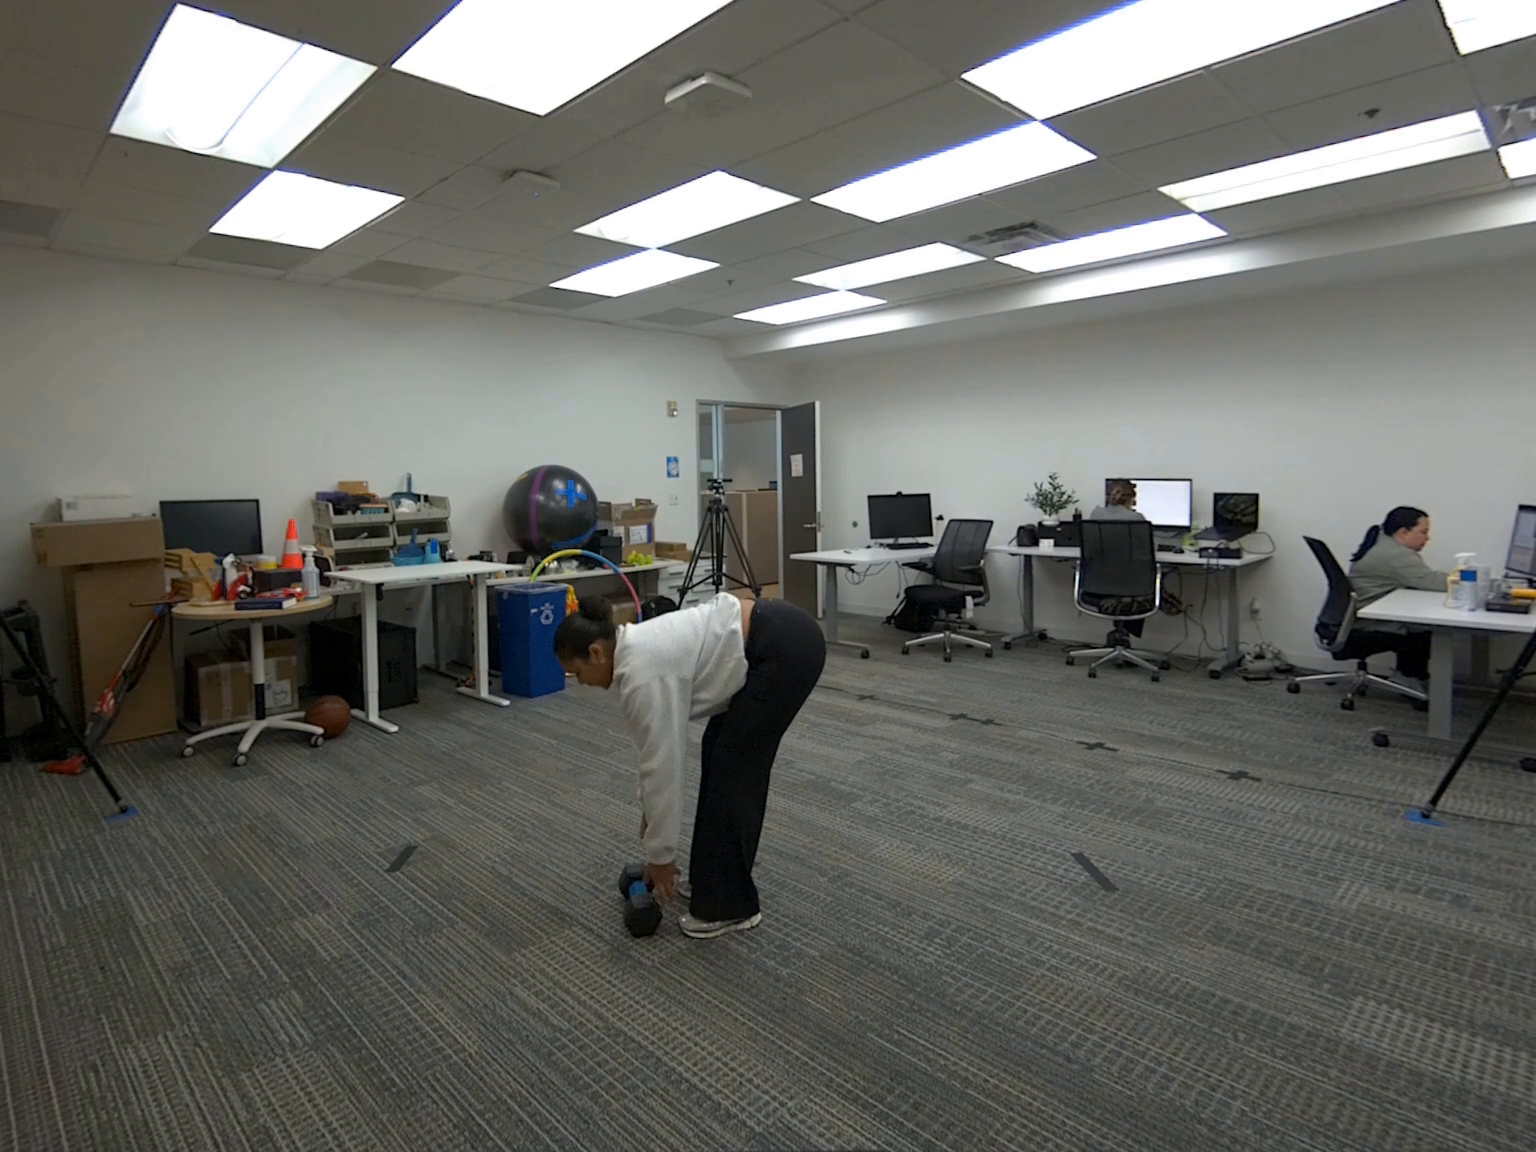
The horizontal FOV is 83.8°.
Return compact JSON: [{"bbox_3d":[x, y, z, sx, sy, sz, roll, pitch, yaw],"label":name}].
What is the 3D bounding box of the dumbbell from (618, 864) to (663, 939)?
[{"bbox_3d":[-0.406,1.035,2.748,0.122,0.108,0.298,-5,6,-12],"label":"dumbbell"}]
